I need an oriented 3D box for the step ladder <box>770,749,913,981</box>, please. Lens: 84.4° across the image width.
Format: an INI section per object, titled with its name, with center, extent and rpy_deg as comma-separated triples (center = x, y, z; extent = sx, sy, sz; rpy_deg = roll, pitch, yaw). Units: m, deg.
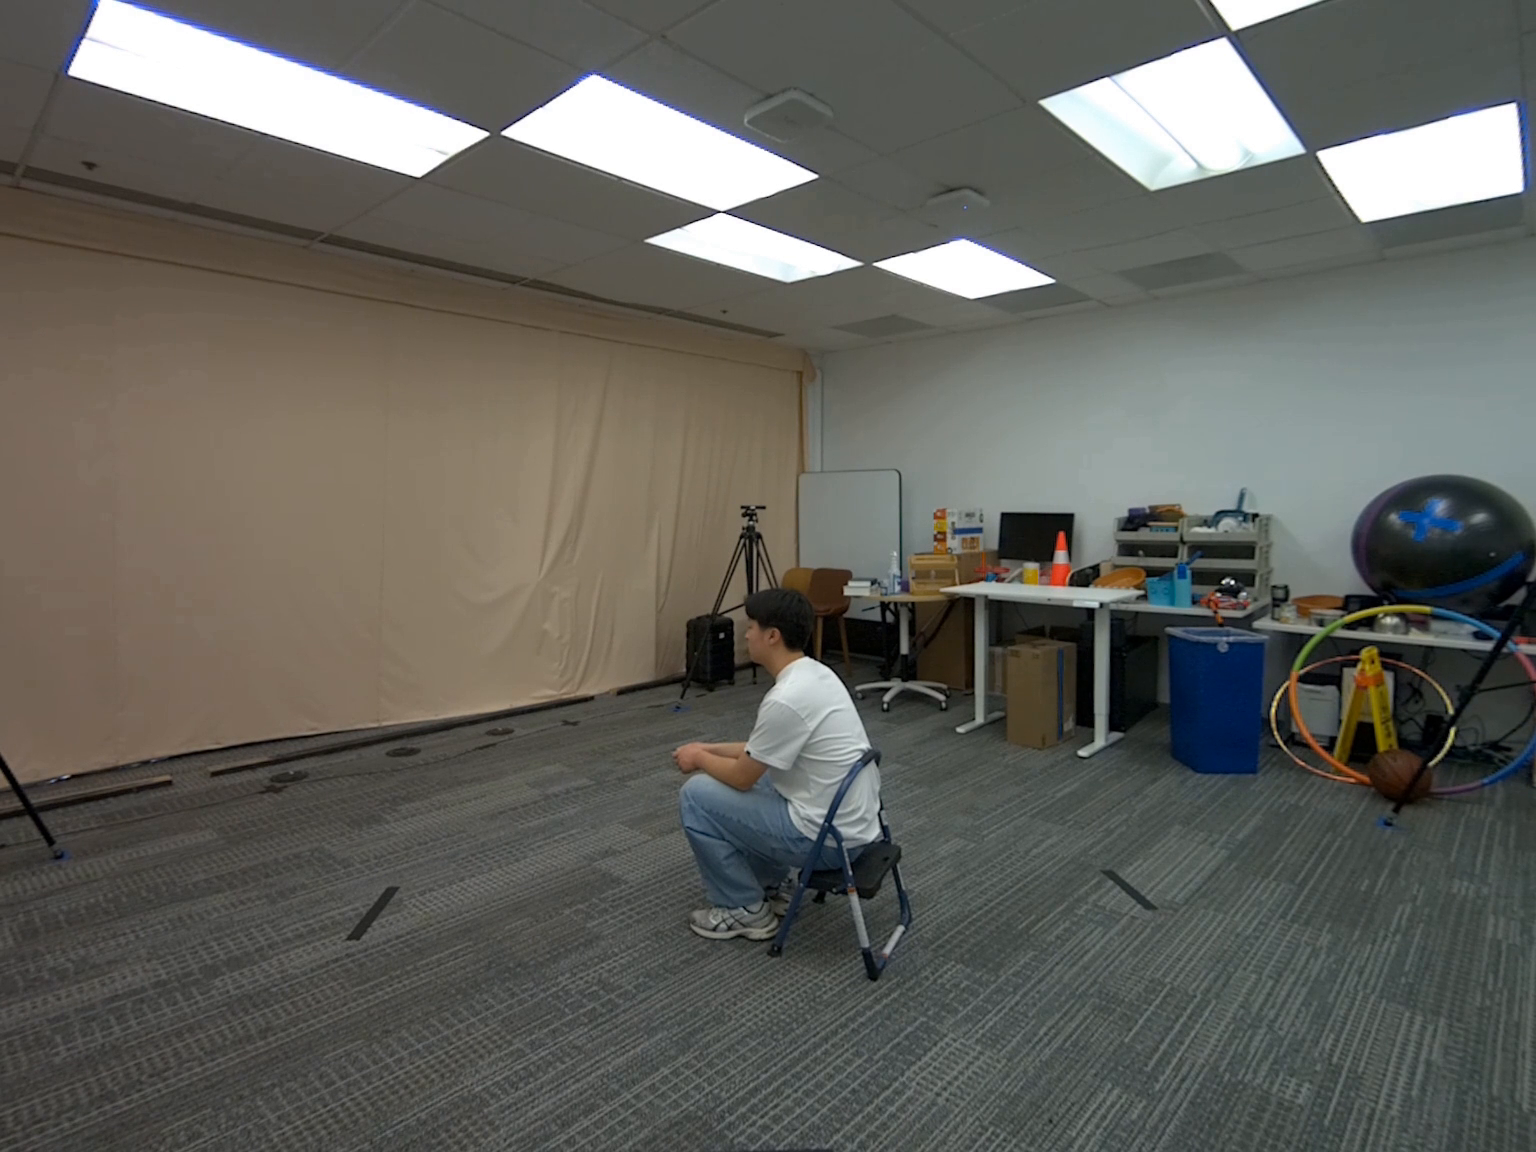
[step ladder]
center = 0.251, 0.869, 2.694
extent = 0.358, 0.604, 0.420
rpy_deg = 2, 5, 26
